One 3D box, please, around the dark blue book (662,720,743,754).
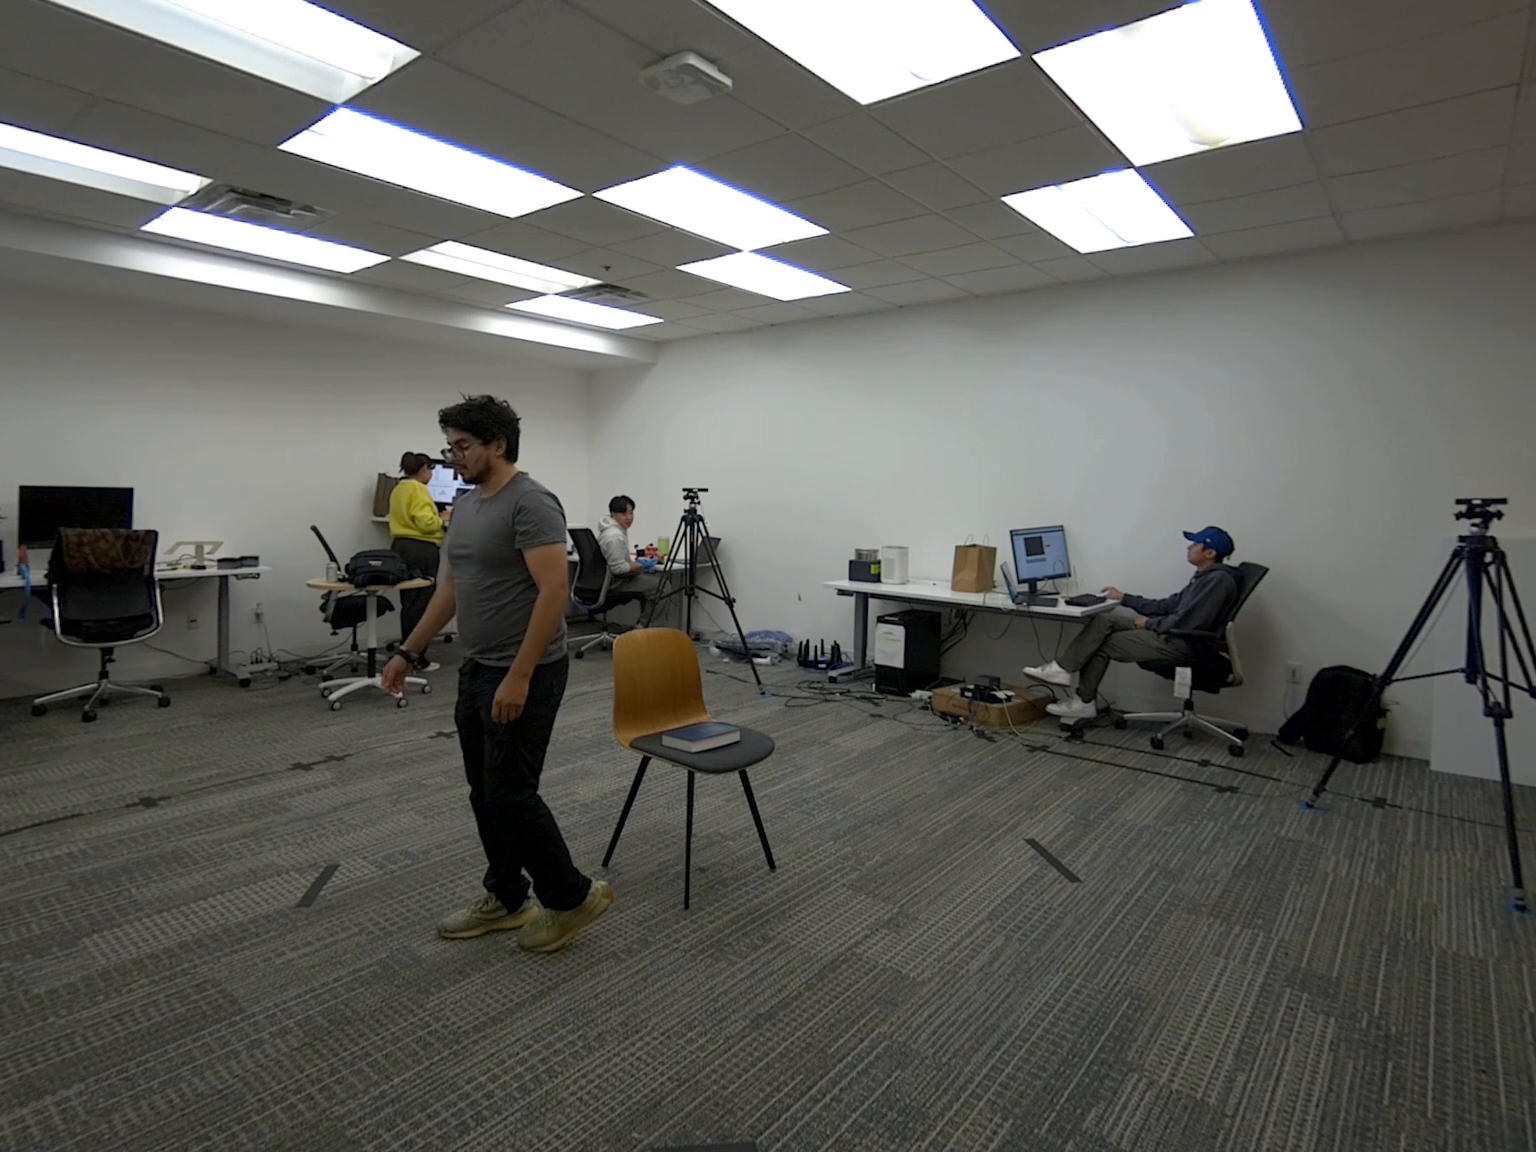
[{"bbox_3d":[-0.236,0.574,3.025,0.169,0.045,0.238,2,5,41],"label":"dark blue book"}]
